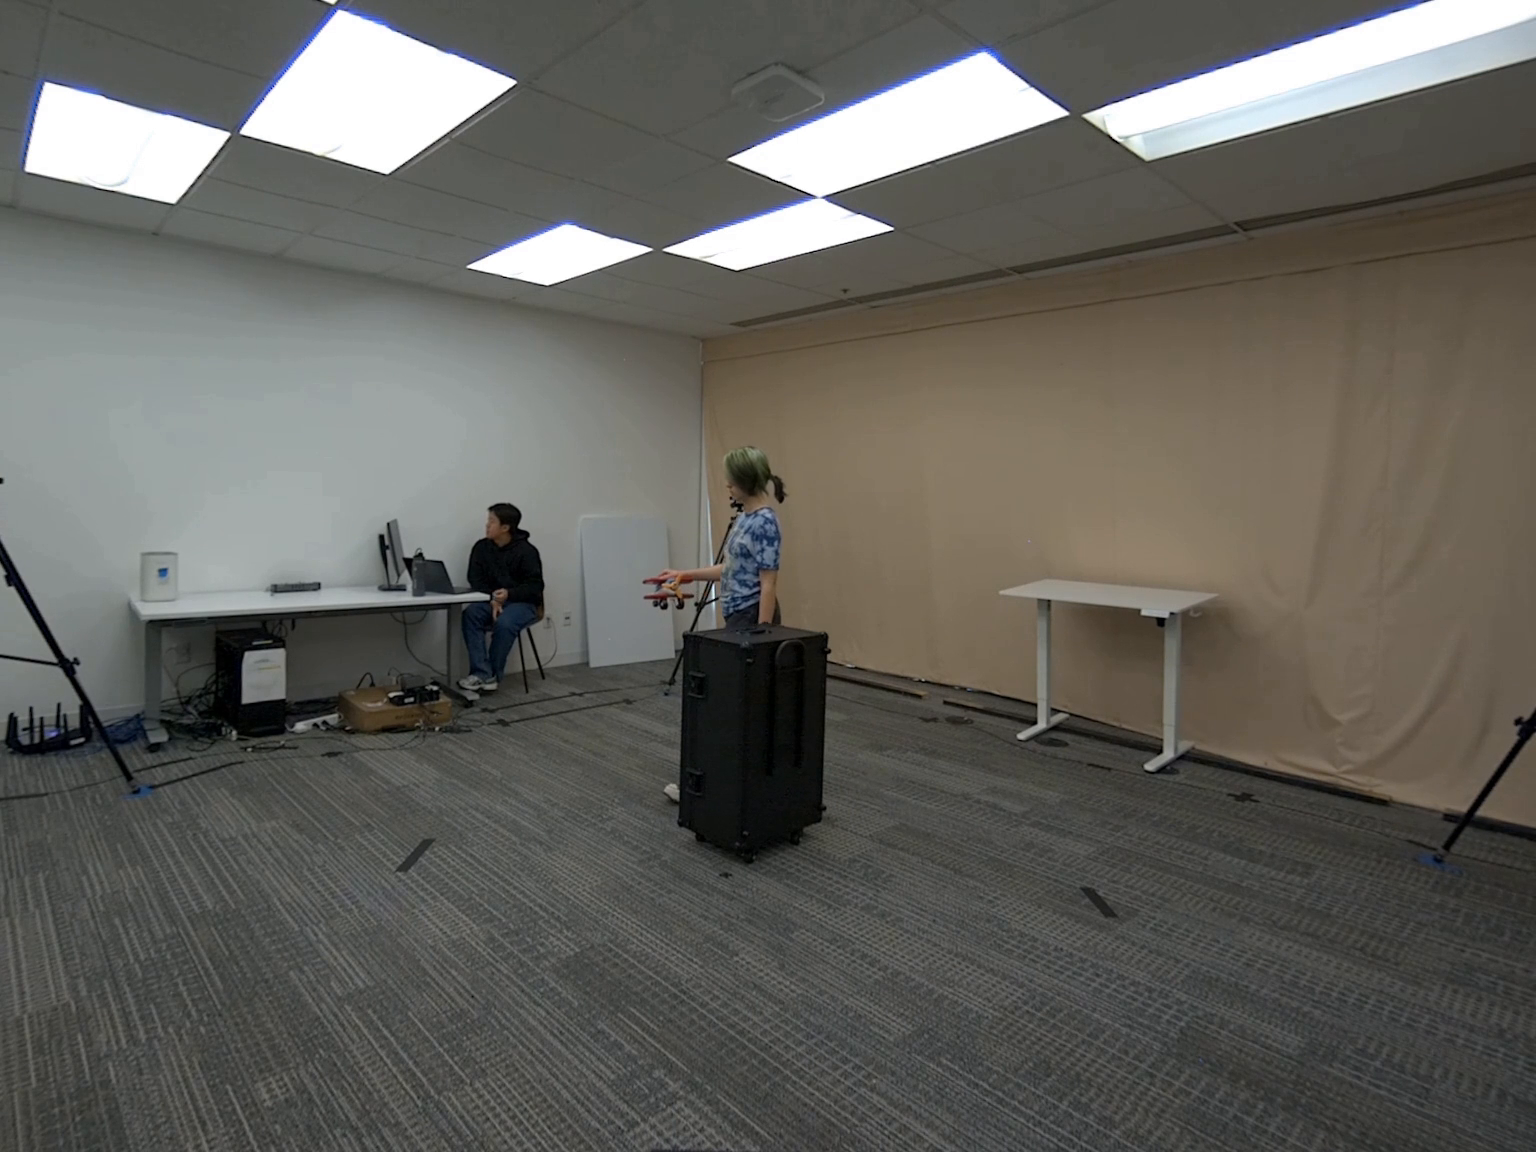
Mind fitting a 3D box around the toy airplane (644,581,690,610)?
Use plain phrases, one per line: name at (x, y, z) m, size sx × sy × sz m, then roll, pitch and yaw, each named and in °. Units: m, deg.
toy airplane at (-0.526, 0.078, 4.128) m, size 0.265 × 0.156 × 0.245 m, roll 3°, pitch 2°, yaw 37°
